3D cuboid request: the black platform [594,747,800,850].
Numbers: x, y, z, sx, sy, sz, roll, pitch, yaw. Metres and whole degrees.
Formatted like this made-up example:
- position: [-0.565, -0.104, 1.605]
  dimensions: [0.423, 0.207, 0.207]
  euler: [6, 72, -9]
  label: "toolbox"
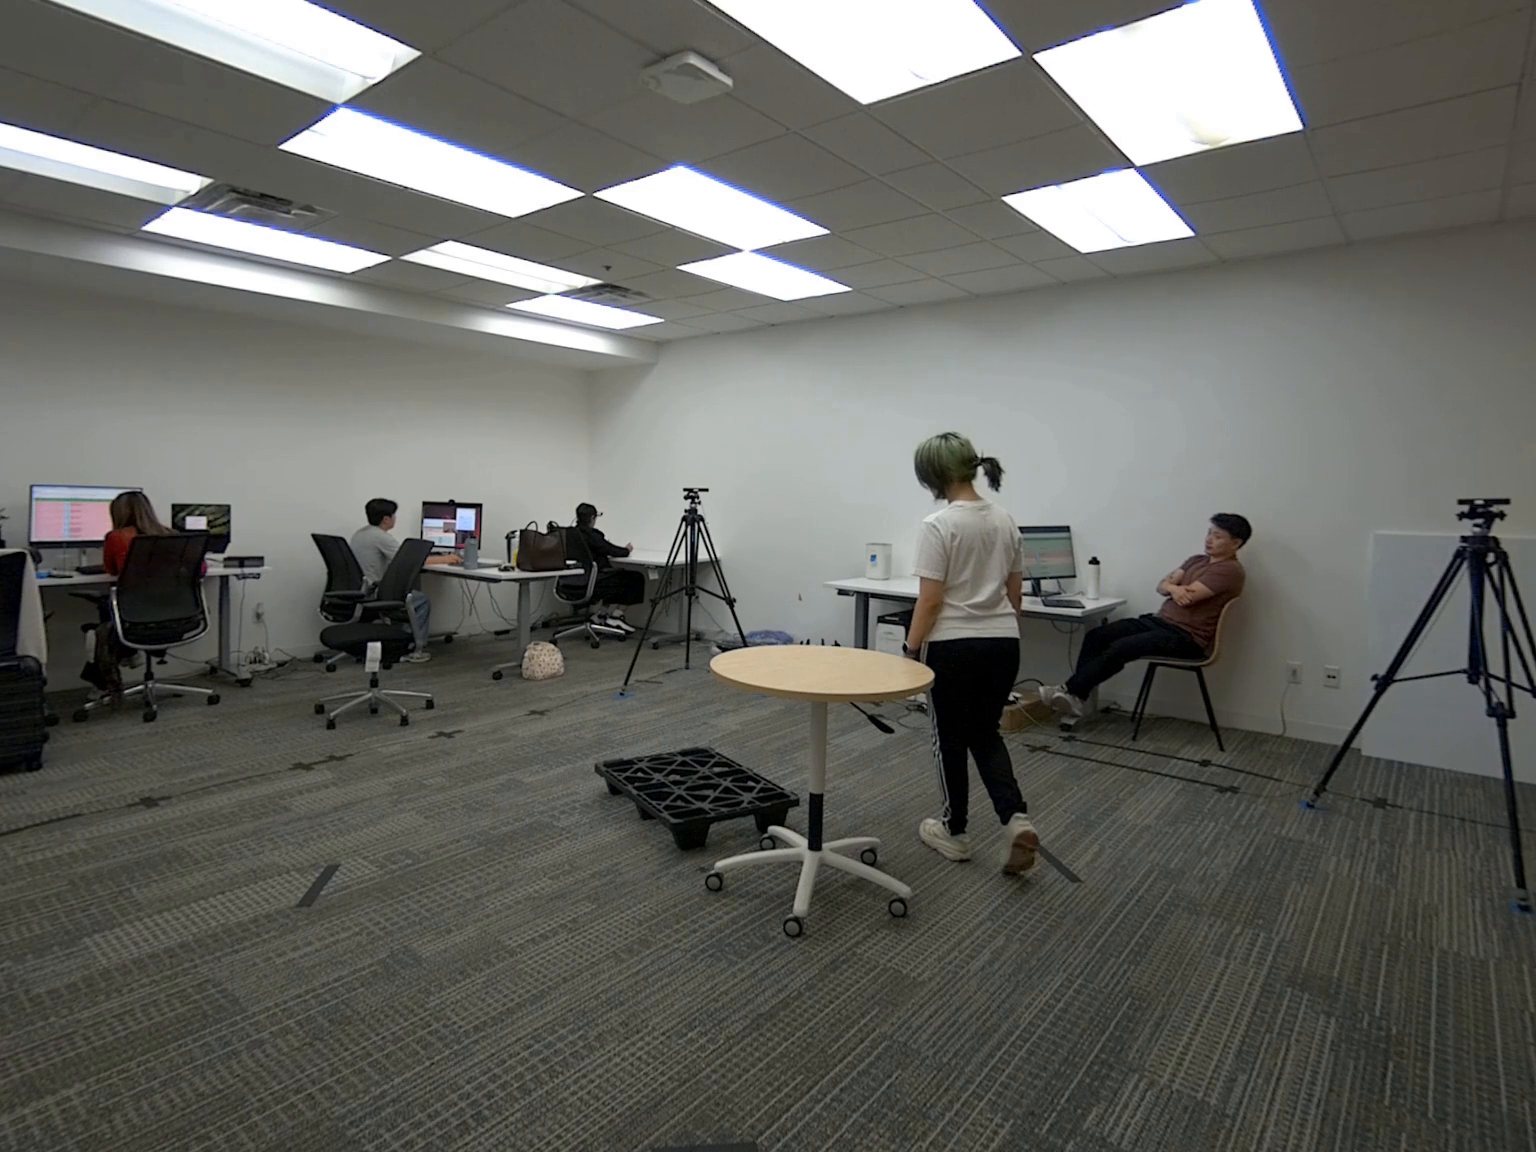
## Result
- position: [-0.342, 0.944, 3.694]
  dimensions: [0.588, 0.143, 0.831]
  euler: [-2, 7, -32]
  label: "black platform"
